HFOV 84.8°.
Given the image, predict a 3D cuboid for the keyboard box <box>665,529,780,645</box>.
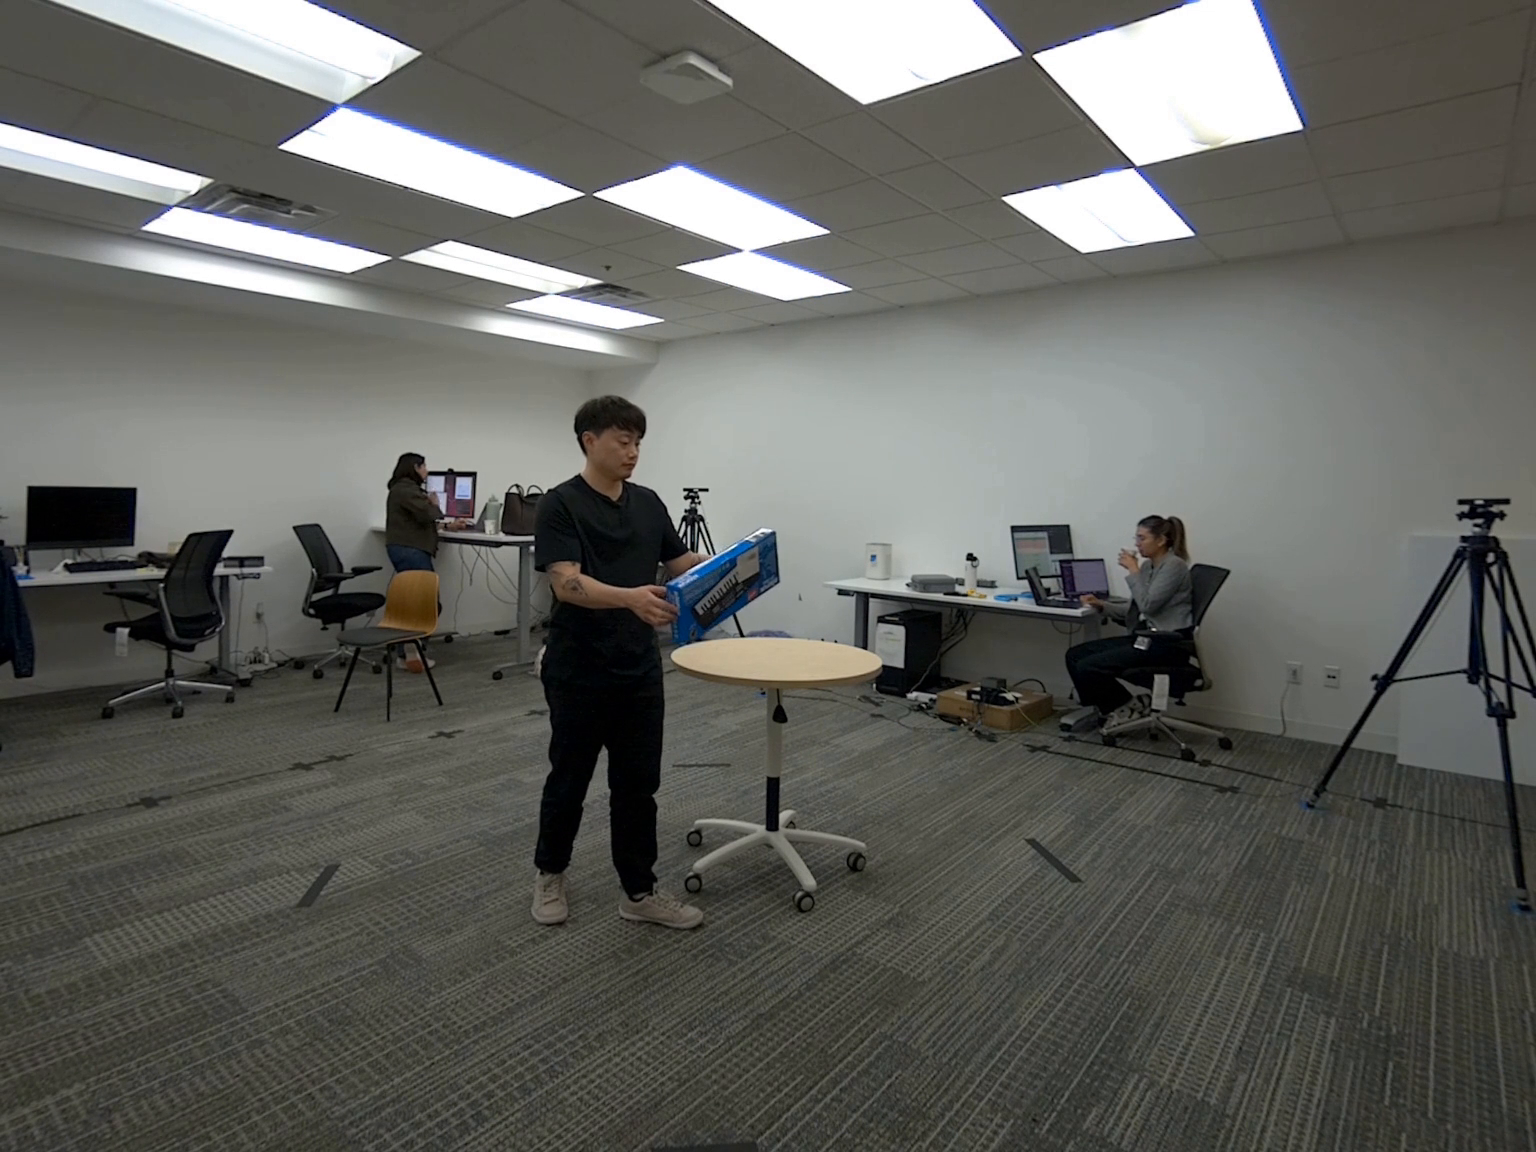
[{"bbox_3d":[-0.130,0.022,2.429,0.061,0.172,0.432,11,31,36],"label":"keyboard box"}]
